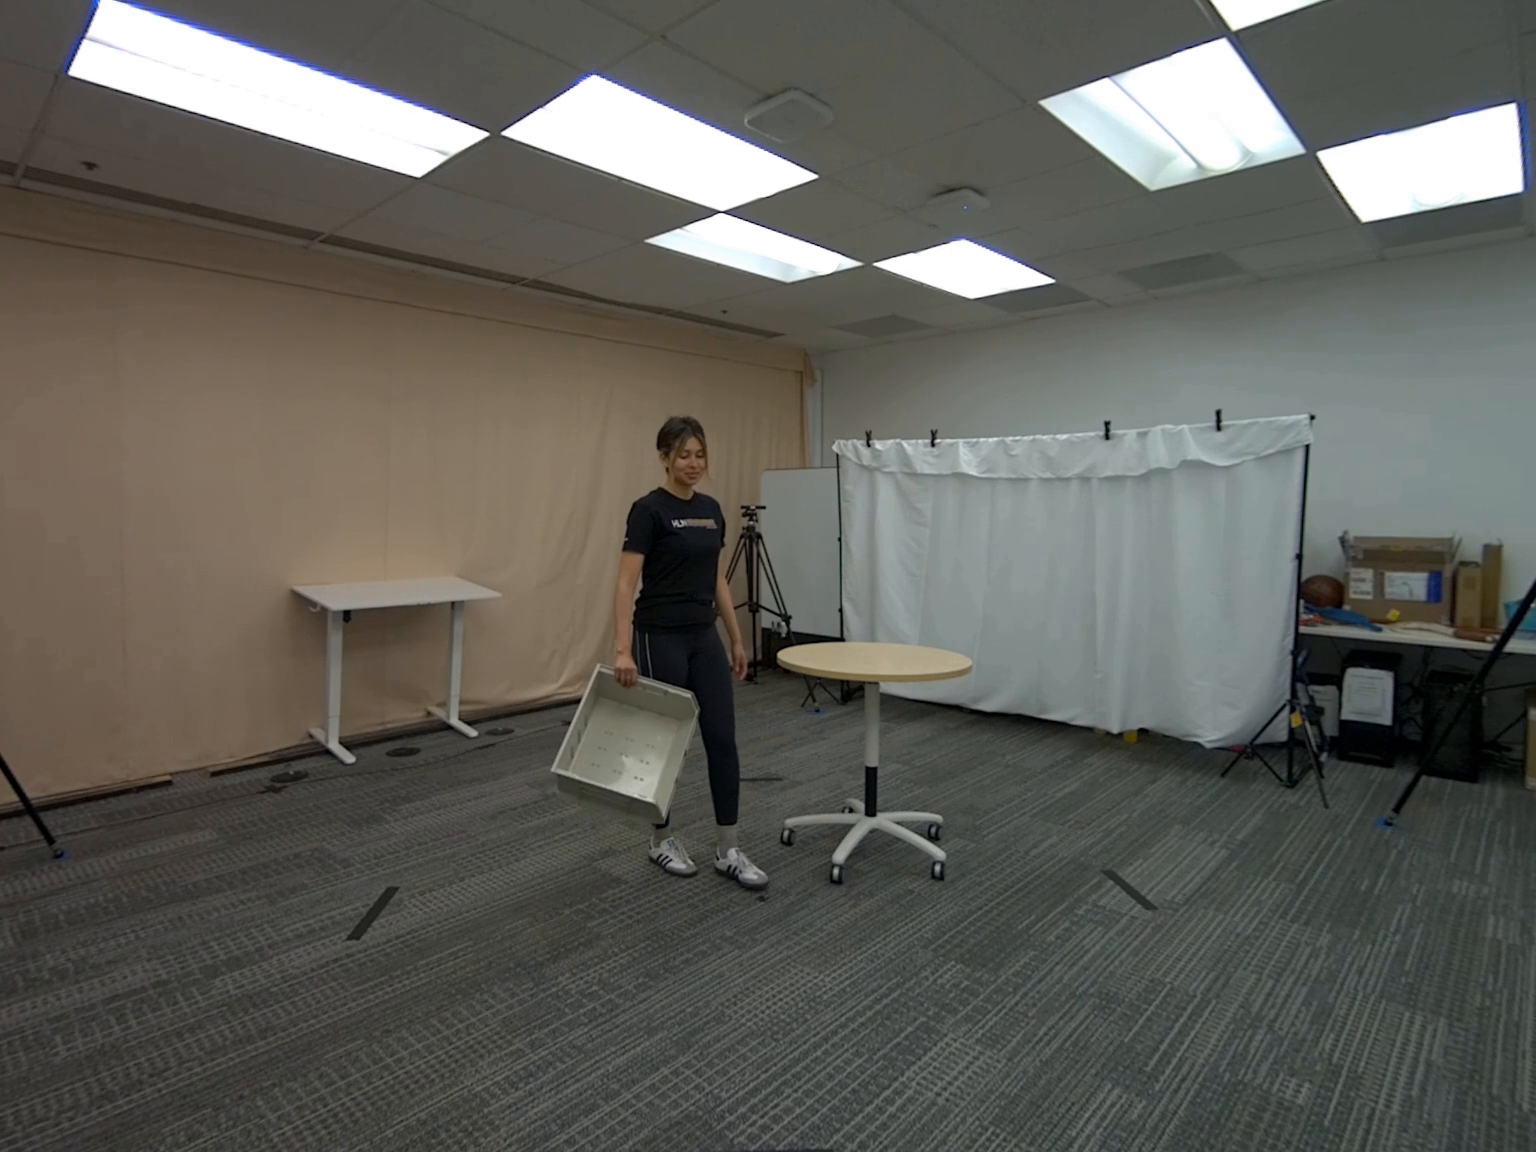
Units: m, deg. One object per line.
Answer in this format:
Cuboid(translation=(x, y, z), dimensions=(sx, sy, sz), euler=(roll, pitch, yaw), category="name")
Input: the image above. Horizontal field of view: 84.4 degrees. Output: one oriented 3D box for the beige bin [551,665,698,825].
Cuboid(translation=(-0.457, 0.566, 2.785), dimensions=(0.380, 0.186, 0.425), euler=(13, 49, 5), category="beige bin")
